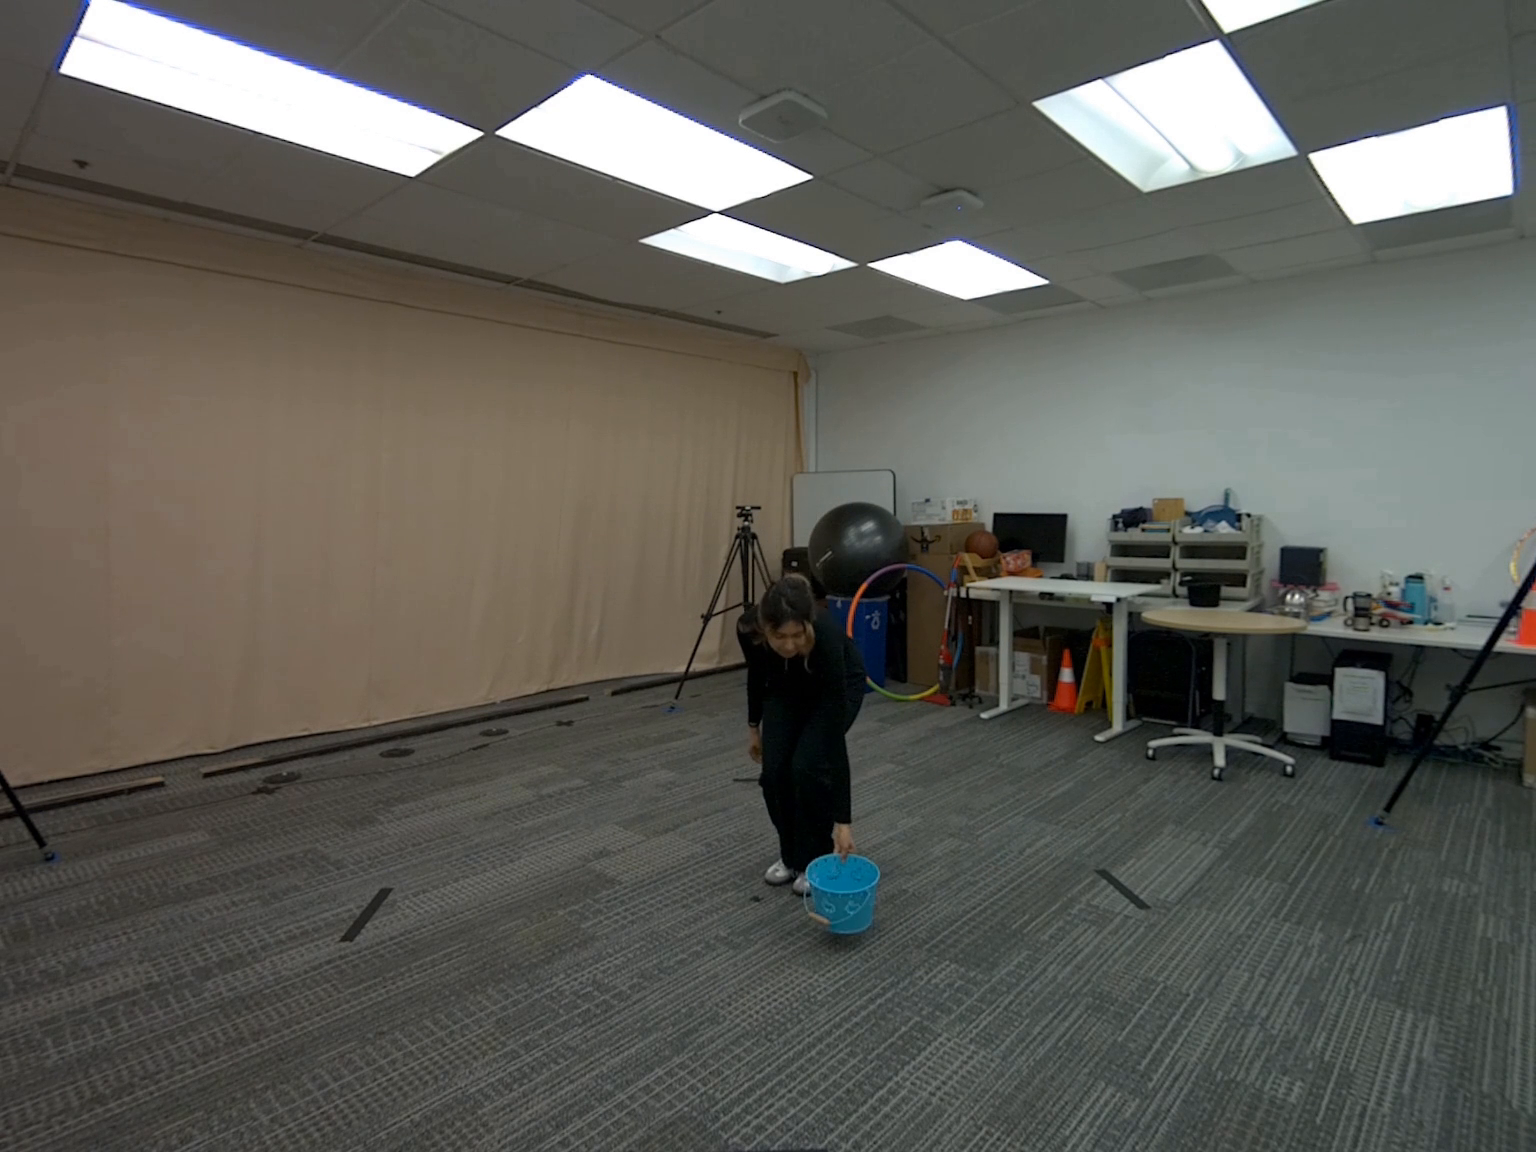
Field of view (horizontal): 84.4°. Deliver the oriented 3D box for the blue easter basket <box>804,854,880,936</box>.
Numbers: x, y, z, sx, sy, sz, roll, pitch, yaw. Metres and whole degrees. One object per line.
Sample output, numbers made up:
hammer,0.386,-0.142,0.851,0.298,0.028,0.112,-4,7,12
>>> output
blue easter basket,0.230,0.996,2.688,0.243,0.155,0.245,-2,10,-1
